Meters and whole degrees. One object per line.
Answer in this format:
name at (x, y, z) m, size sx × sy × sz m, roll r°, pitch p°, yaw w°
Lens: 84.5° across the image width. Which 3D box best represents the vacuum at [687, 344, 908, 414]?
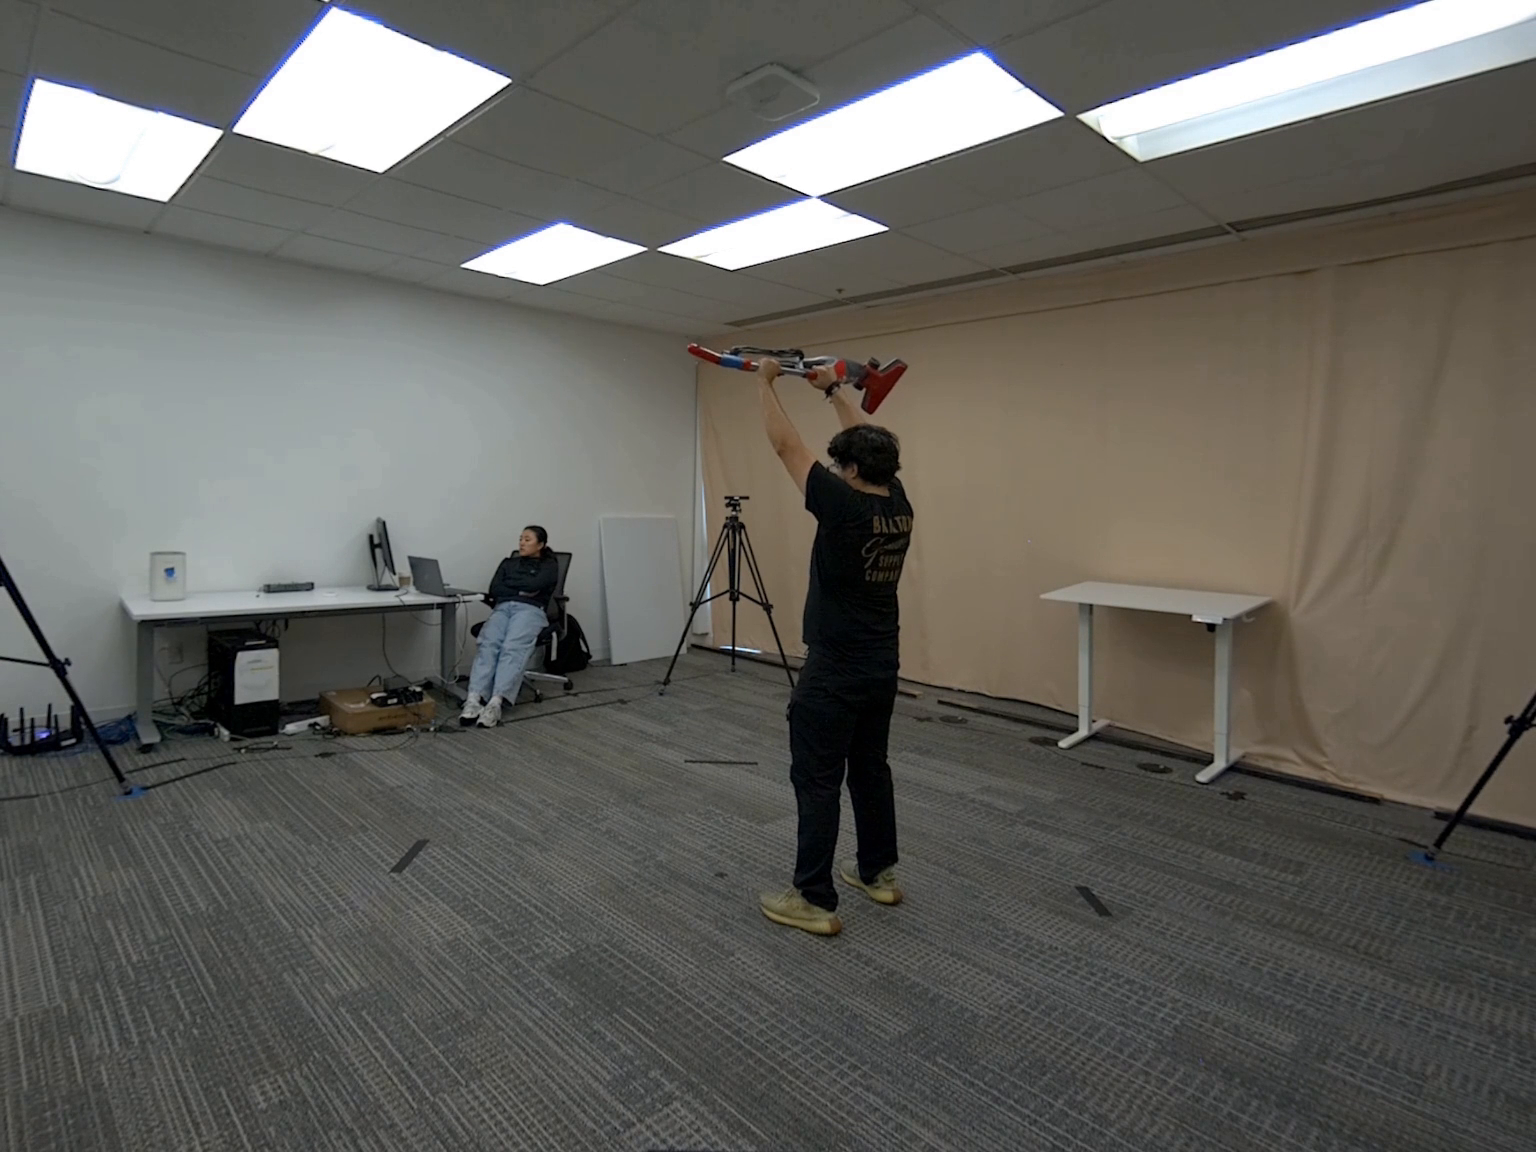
vacuum at (0.096, -0.762, 3.032) m, size 1.025 × 0.147 × 0.253 m, roll -4°, pitch -32°, yaw -48°
